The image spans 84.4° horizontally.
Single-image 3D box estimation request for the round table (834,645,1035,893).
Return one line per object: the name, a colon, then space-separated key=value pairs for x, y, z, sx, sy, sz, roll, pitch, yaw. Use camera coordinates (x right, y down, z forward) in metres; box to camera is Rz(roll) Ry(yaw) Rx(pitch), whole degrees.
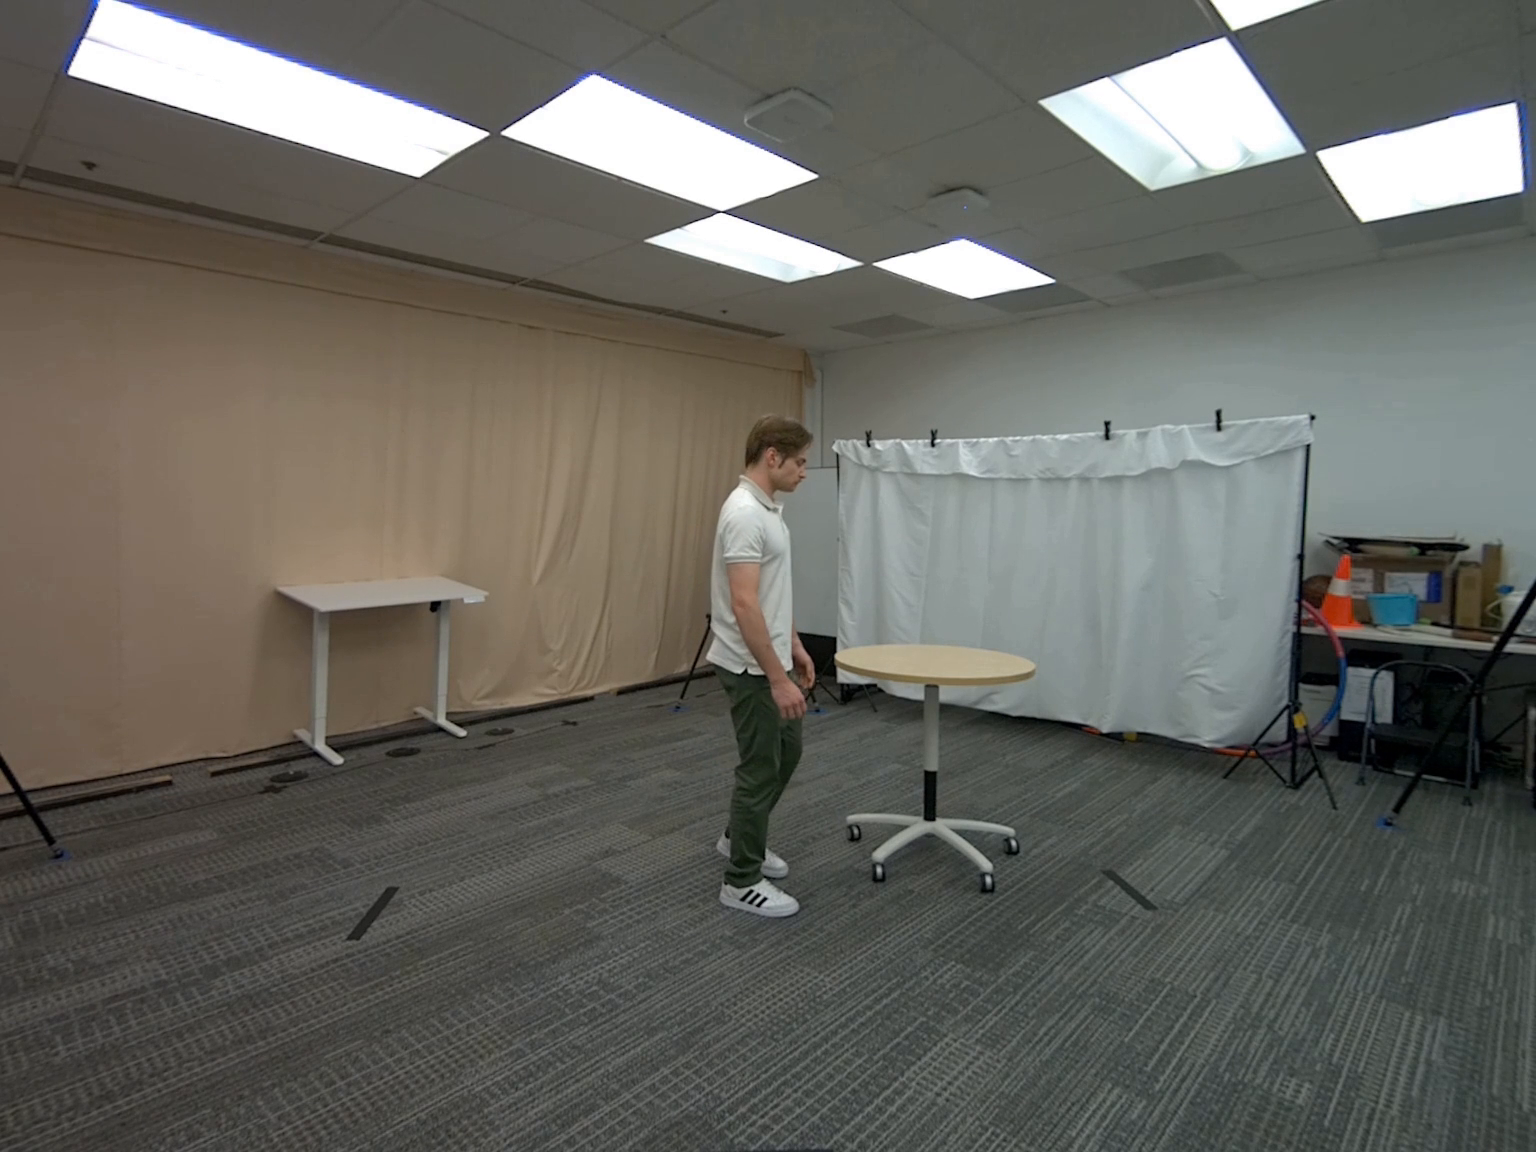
round table: x=0.648 y=0.725 z=3.345 sx=0.763 sy=0.792 sz=0.766 roll=1 pitch=3 yaw=-2
